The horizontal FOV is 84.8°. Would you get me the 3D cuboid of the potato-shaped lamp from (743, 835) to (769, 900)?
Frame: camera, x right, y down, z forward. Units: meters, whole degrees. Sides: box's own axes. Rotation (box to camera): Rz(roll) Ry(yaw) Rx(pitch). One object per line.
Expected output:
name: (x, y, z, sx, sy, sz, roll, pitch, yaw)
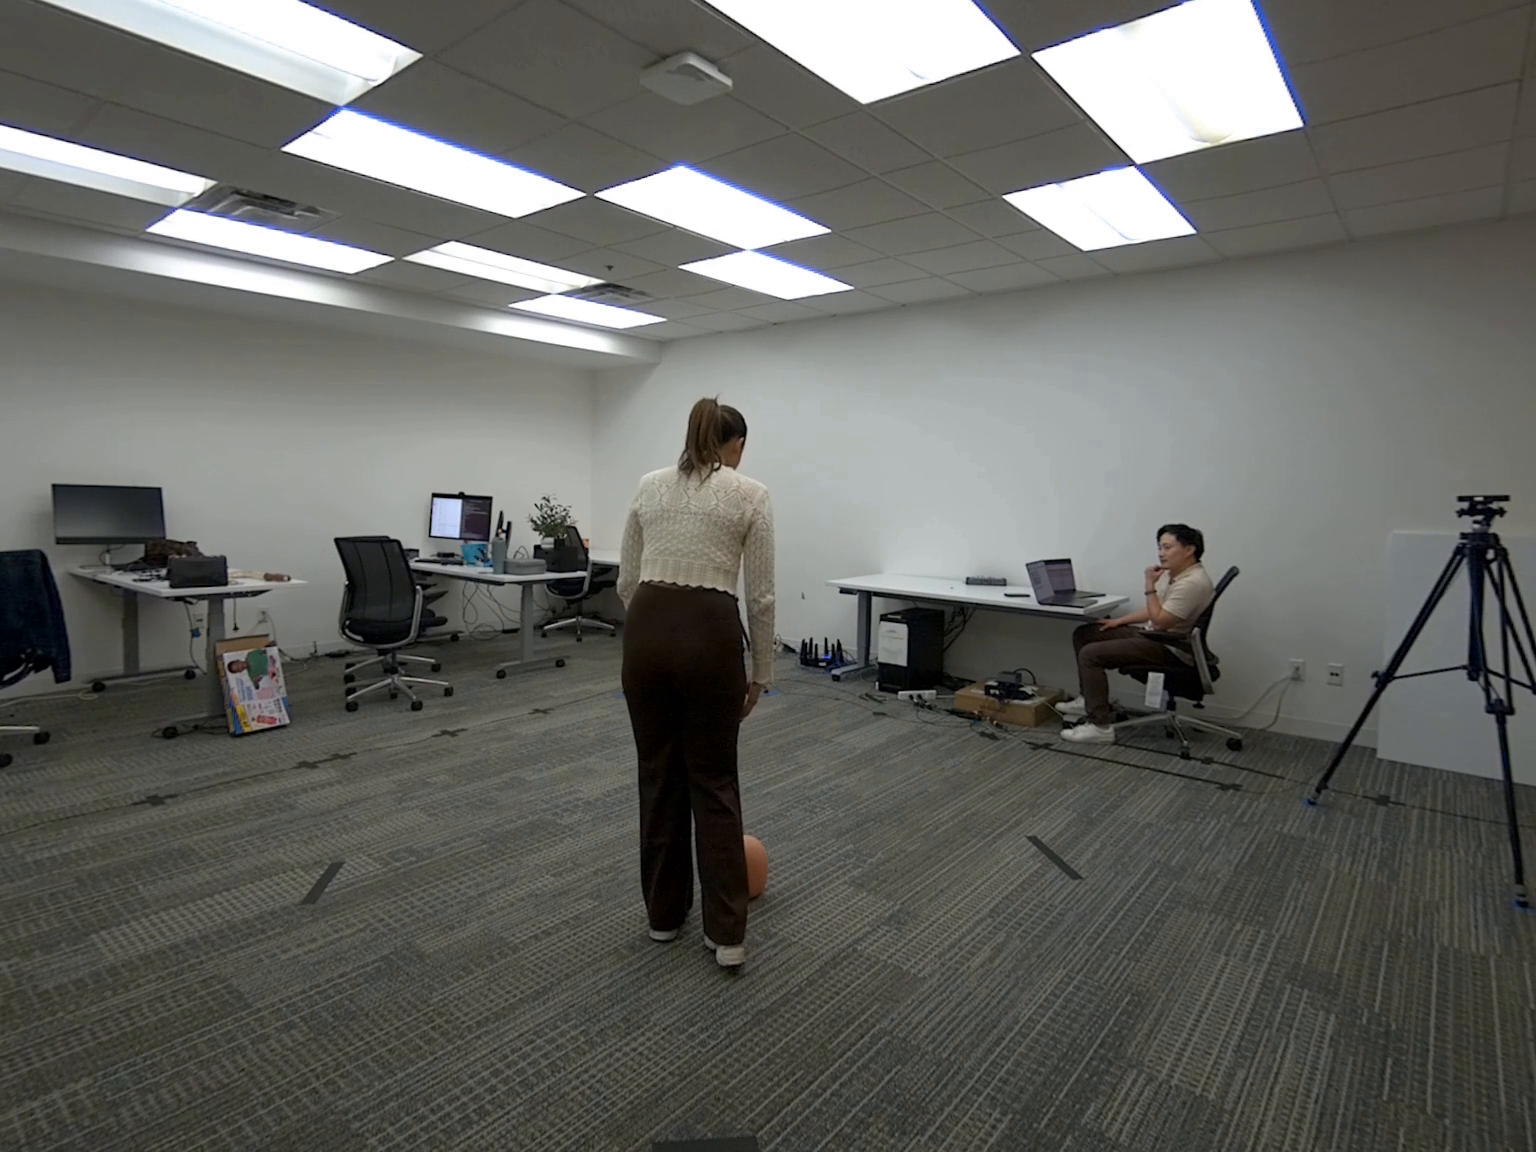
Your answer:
potato-shaped lamp: (-0.092, 0.984, 2.912, 0.176, 0.197, 0.161, 0, 5, 25)
